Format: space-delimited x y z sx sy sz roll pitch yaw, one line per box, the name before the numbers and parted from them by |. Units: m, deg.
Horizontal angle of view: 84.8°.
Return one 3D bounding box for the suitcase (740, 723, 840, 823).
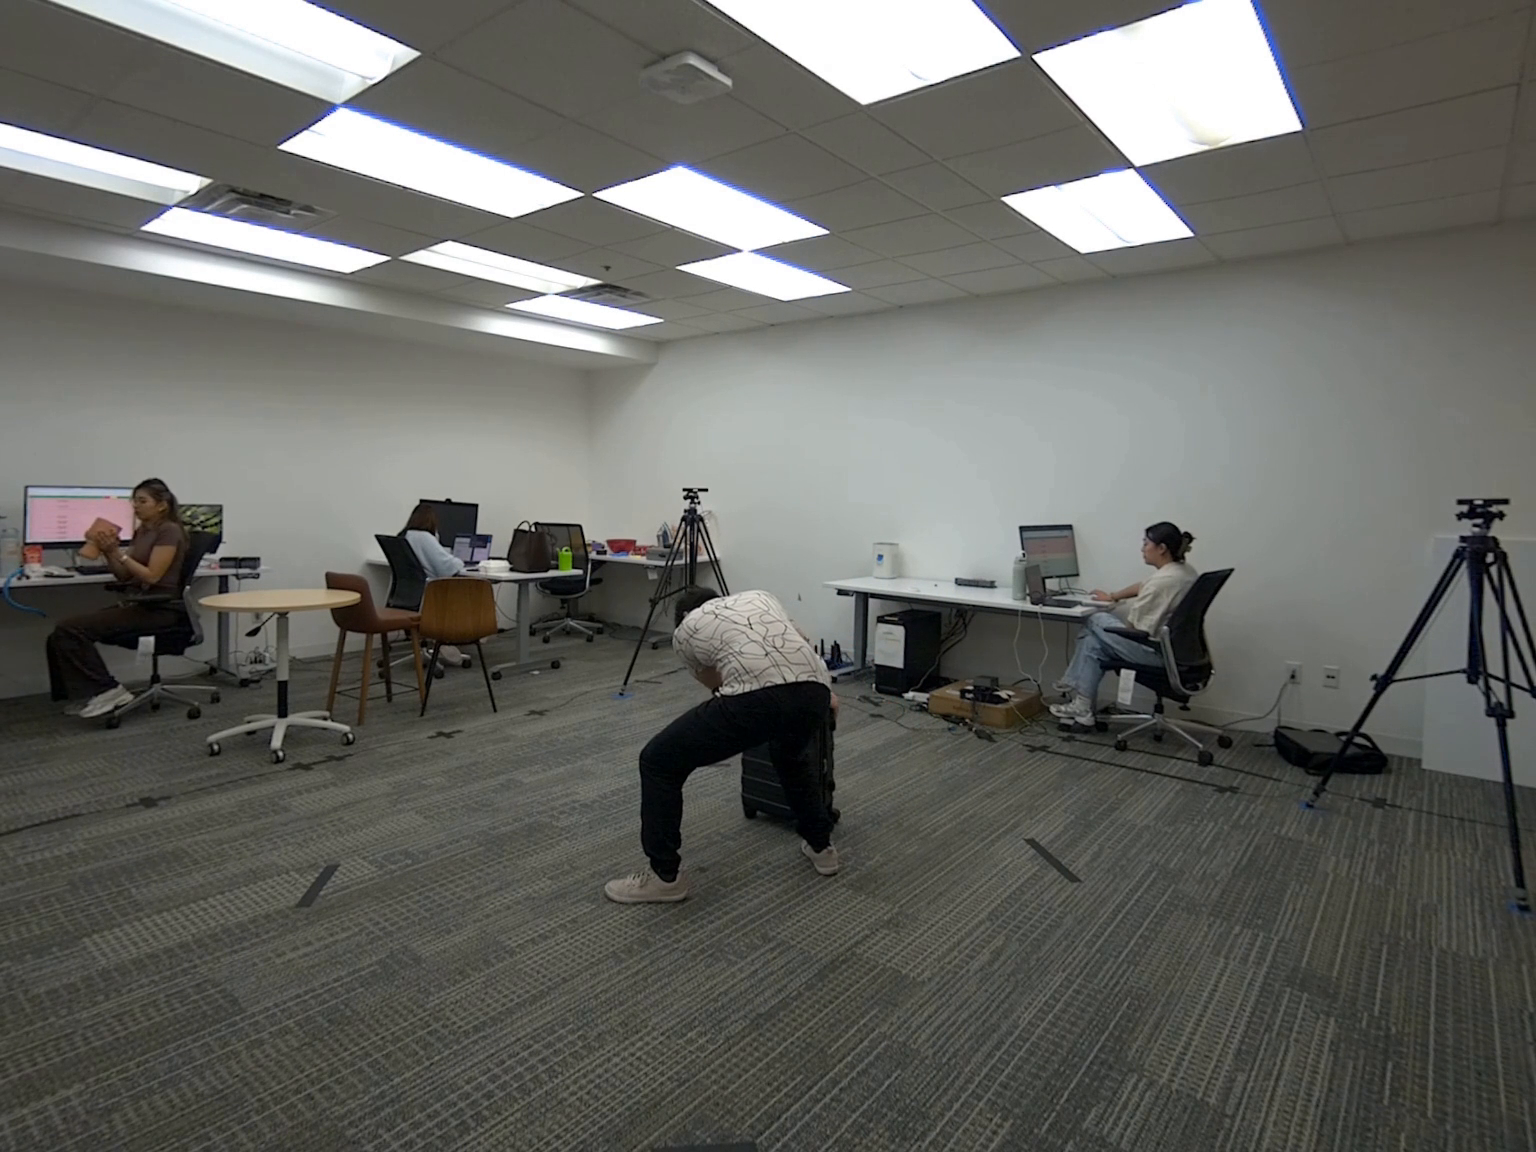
suitcase | 0.075 0.753 3.598 0.387 0.548 0.241 2 3 37
